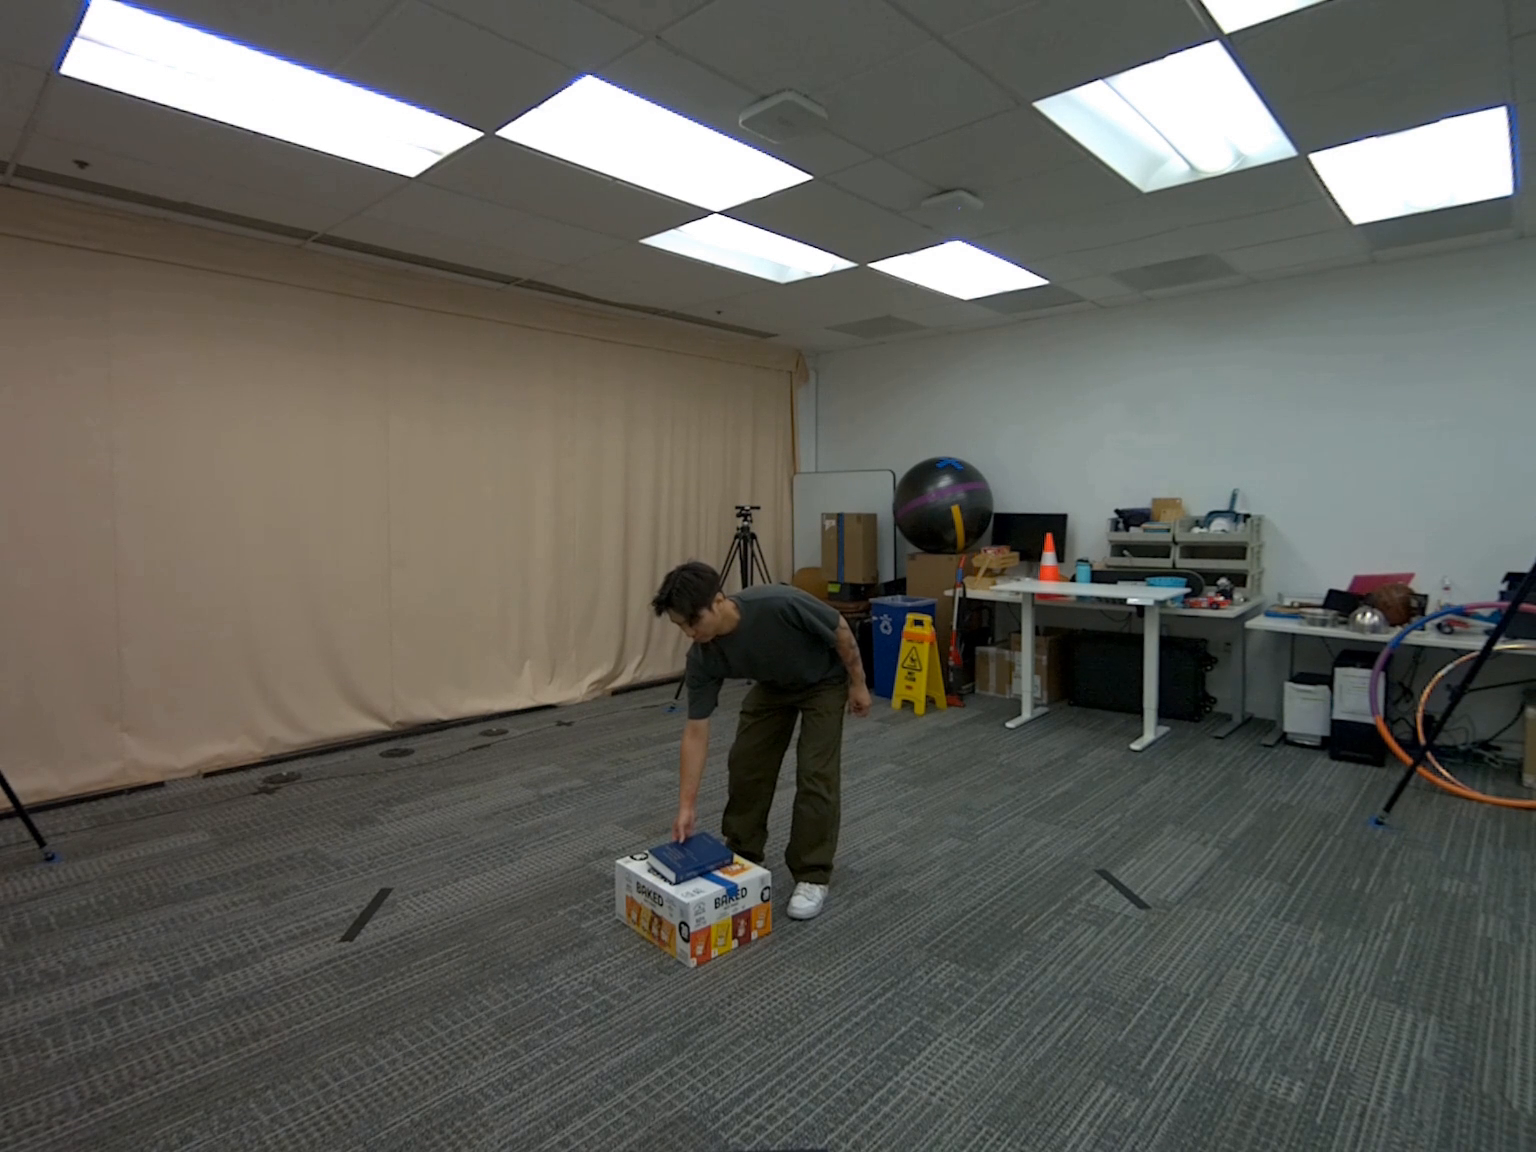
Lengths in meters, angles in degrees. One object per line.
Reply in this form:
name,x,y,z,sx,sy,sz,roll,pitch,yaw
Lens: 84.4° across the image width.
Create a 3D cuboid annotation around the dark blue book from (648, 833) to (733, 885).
dark blue book,-0.259,0.938,2.780,0.238,0.045,0.169,-3,14,-39
